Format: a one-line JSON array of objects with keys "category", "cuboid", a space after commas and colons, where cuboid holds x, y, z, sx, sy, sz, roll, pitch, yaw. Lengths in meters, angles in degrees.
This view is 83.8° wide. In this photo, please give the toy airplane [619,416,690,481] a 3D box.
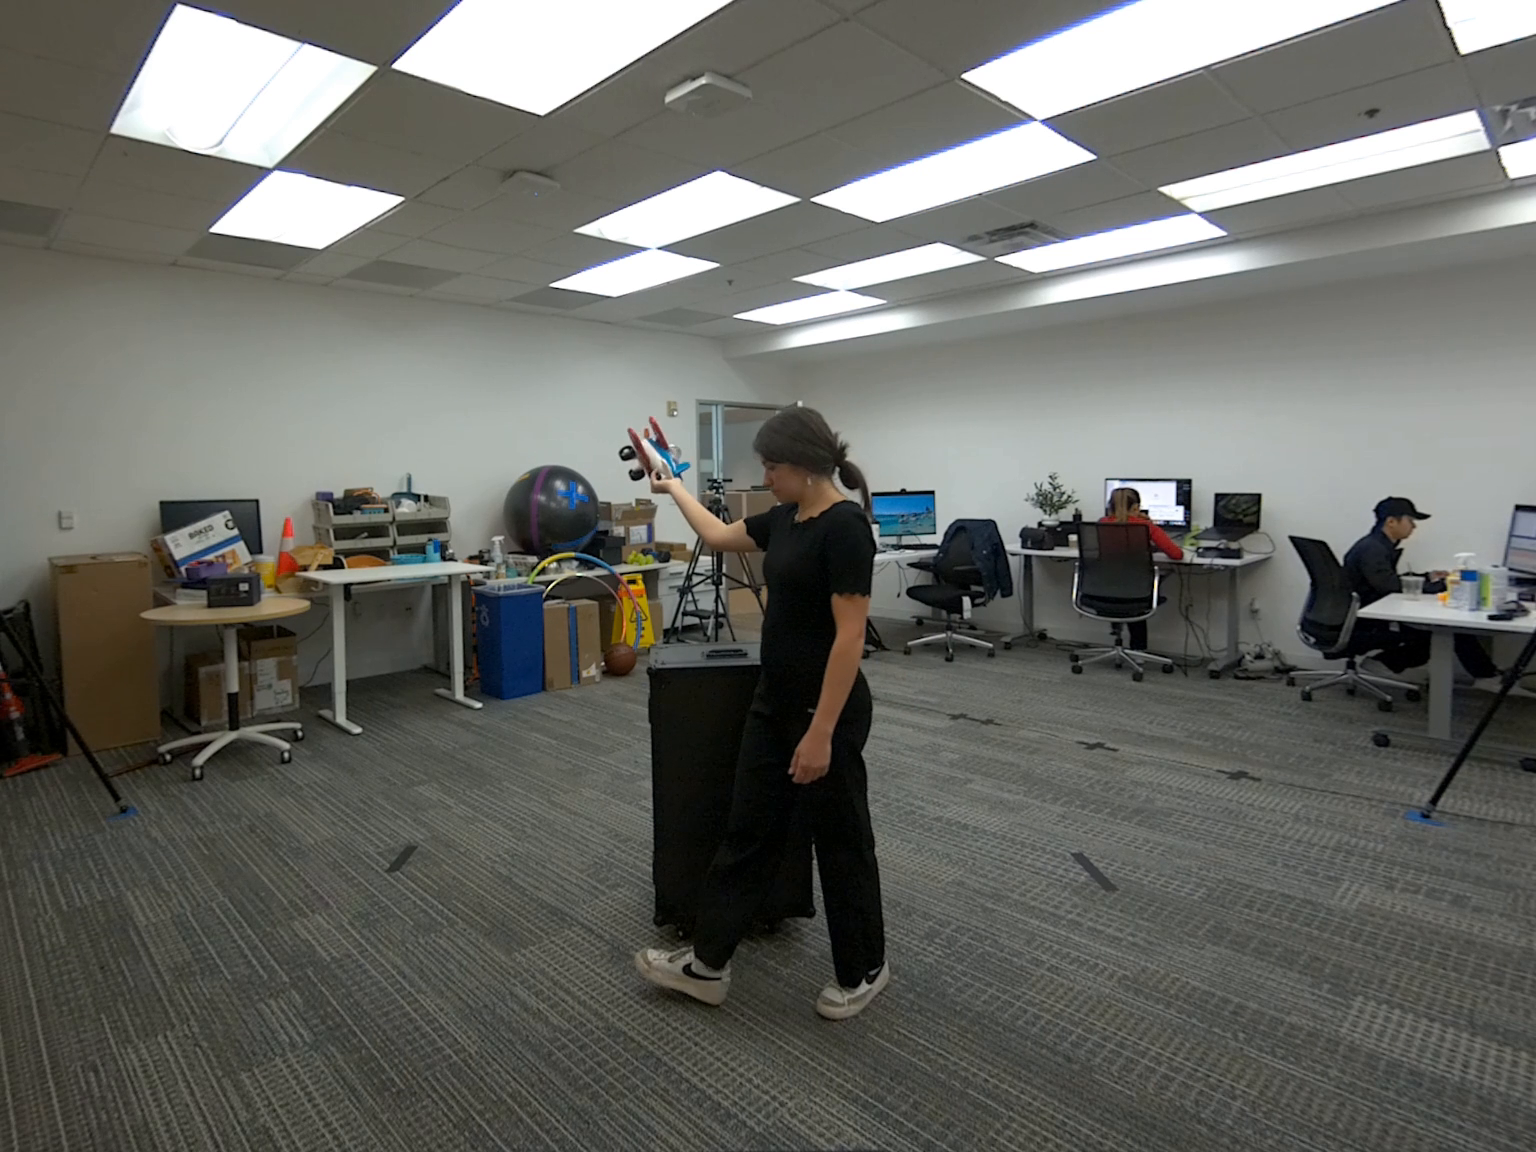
[{"category": "toy airplane", "cuboid": [-0.356, -0.365, 2.791, 0.156, 0.266, 0.245, -39, -21, -19]}]
